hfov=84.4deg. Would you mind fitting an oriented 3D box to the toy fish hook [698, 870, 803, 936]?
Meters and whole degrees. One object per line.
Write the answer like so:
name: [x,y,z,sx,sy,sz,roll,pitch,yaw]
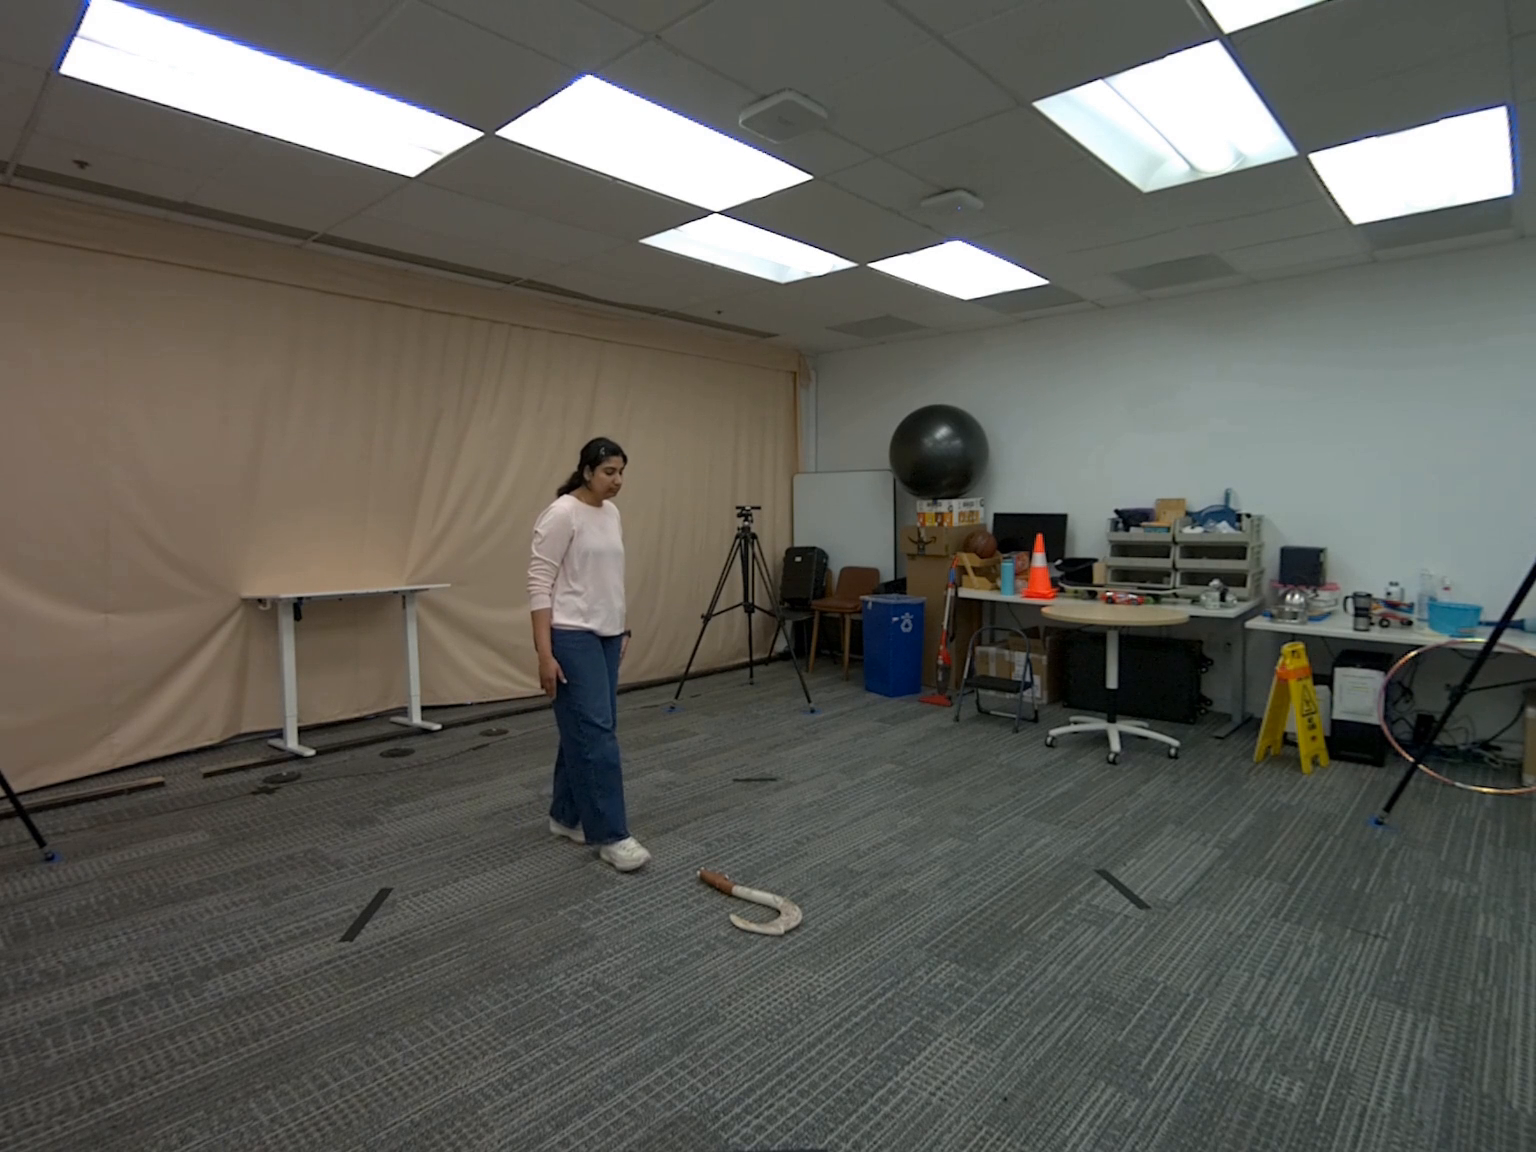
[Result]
toy fish hook: [-0.106,1.127,2.928,0.523,0.048,0.217,4,5,45]
